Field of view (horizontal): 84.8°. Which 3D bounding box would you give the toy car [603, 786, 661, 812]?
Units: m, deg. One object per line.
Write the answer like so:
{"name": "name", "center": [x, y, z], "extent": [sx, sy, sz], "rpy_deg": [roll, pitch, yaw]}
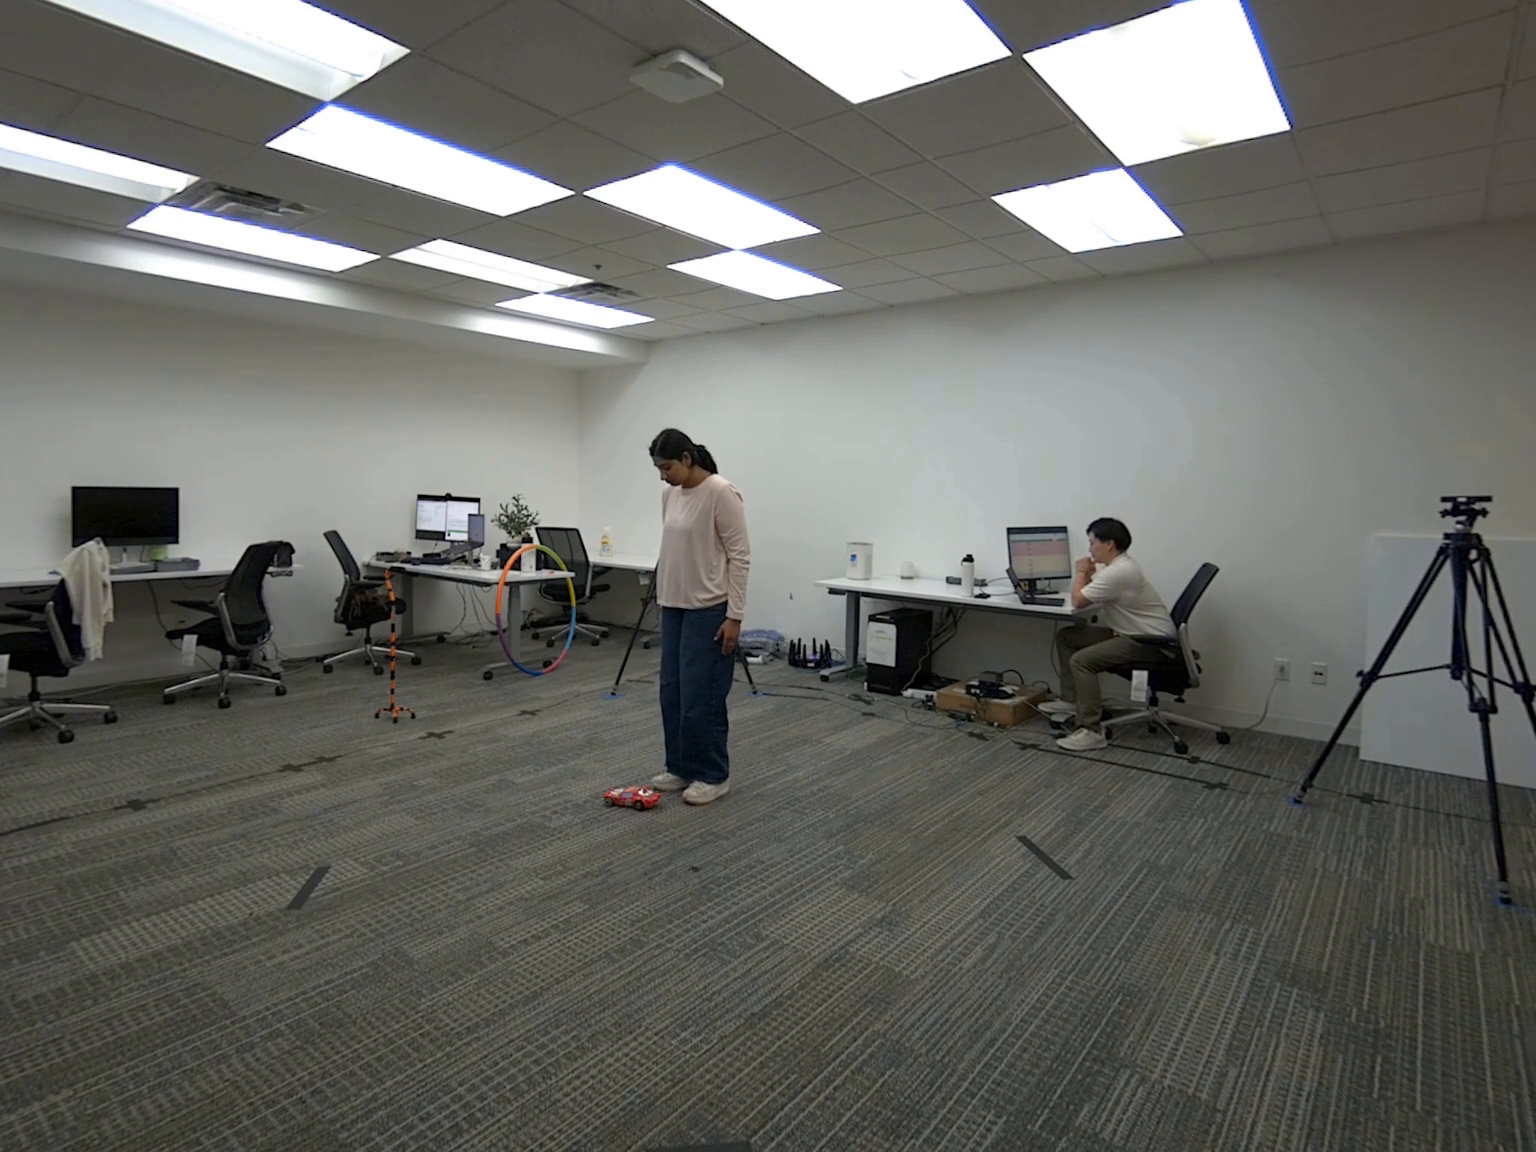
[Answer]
{"name": "toy car", "center": [-0.601, 0.970, 3.727], "extent": [0.259, 0.083, 0.128], "rpy_deg": [-9, 1, 20]}
